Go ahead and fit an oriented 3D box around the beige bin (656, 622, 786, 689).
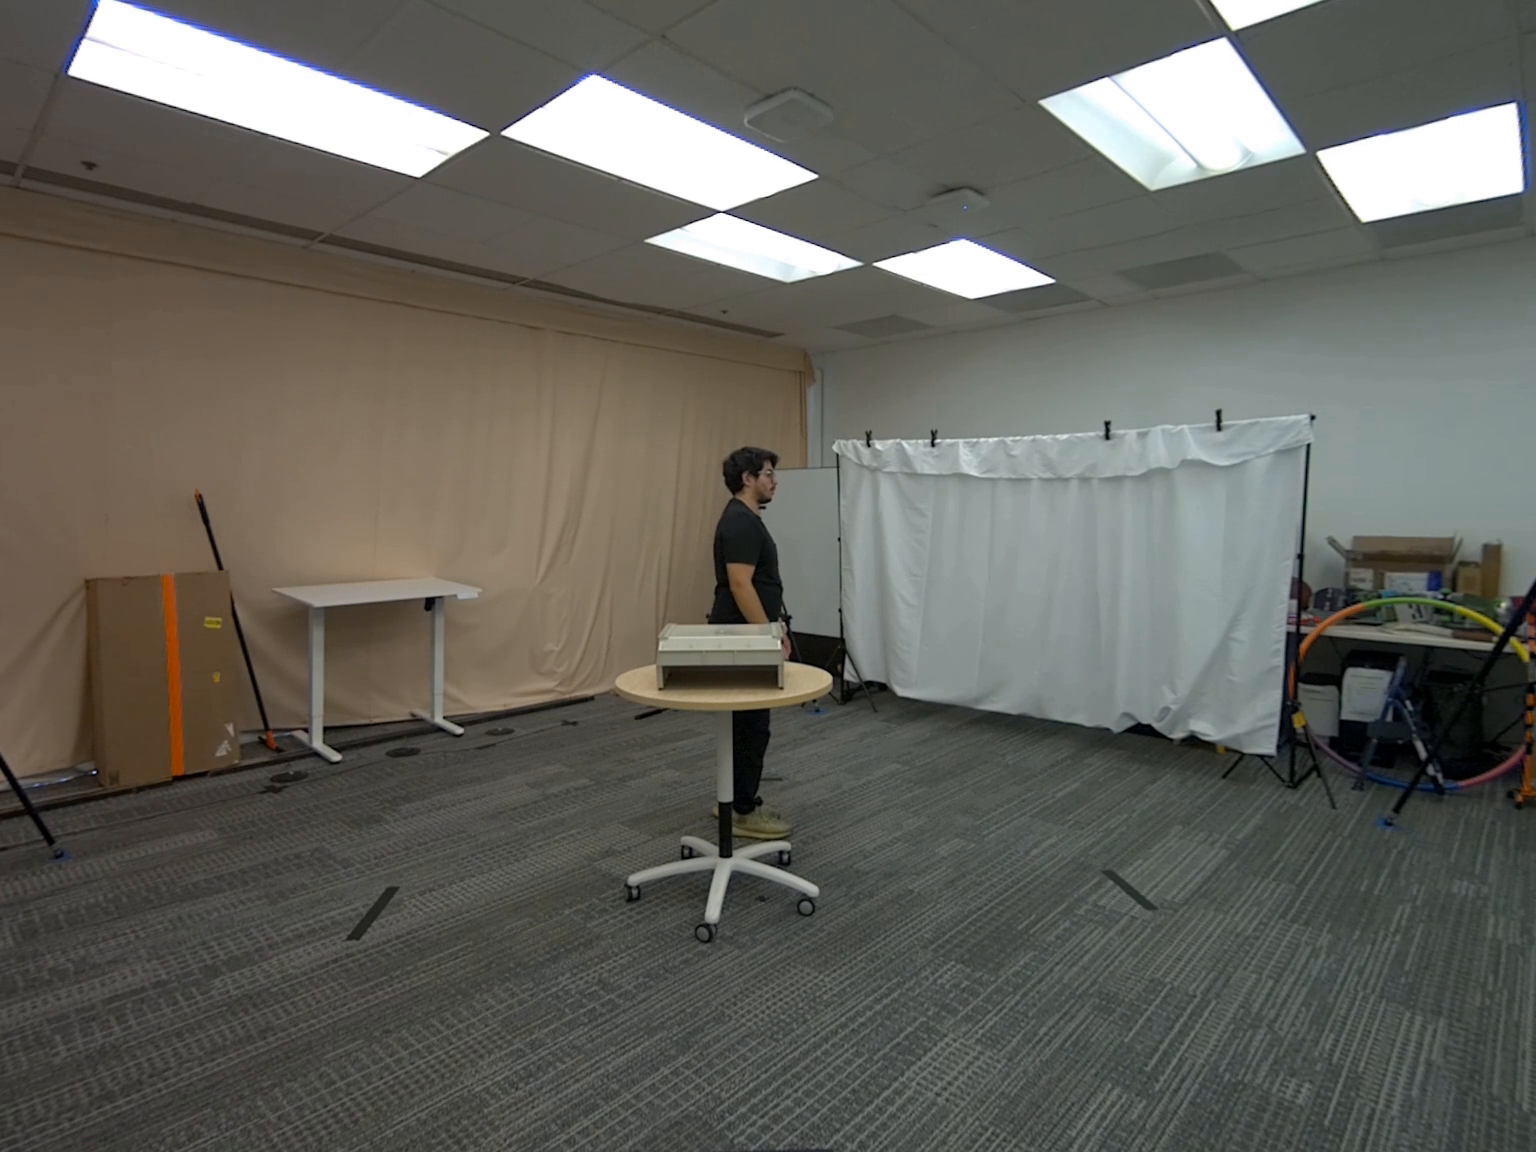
[{"bbox_3d":[-0.158,0.270,2.914,0.423,0.188,0.377,0,5,2],"label":"beige bin"}]
